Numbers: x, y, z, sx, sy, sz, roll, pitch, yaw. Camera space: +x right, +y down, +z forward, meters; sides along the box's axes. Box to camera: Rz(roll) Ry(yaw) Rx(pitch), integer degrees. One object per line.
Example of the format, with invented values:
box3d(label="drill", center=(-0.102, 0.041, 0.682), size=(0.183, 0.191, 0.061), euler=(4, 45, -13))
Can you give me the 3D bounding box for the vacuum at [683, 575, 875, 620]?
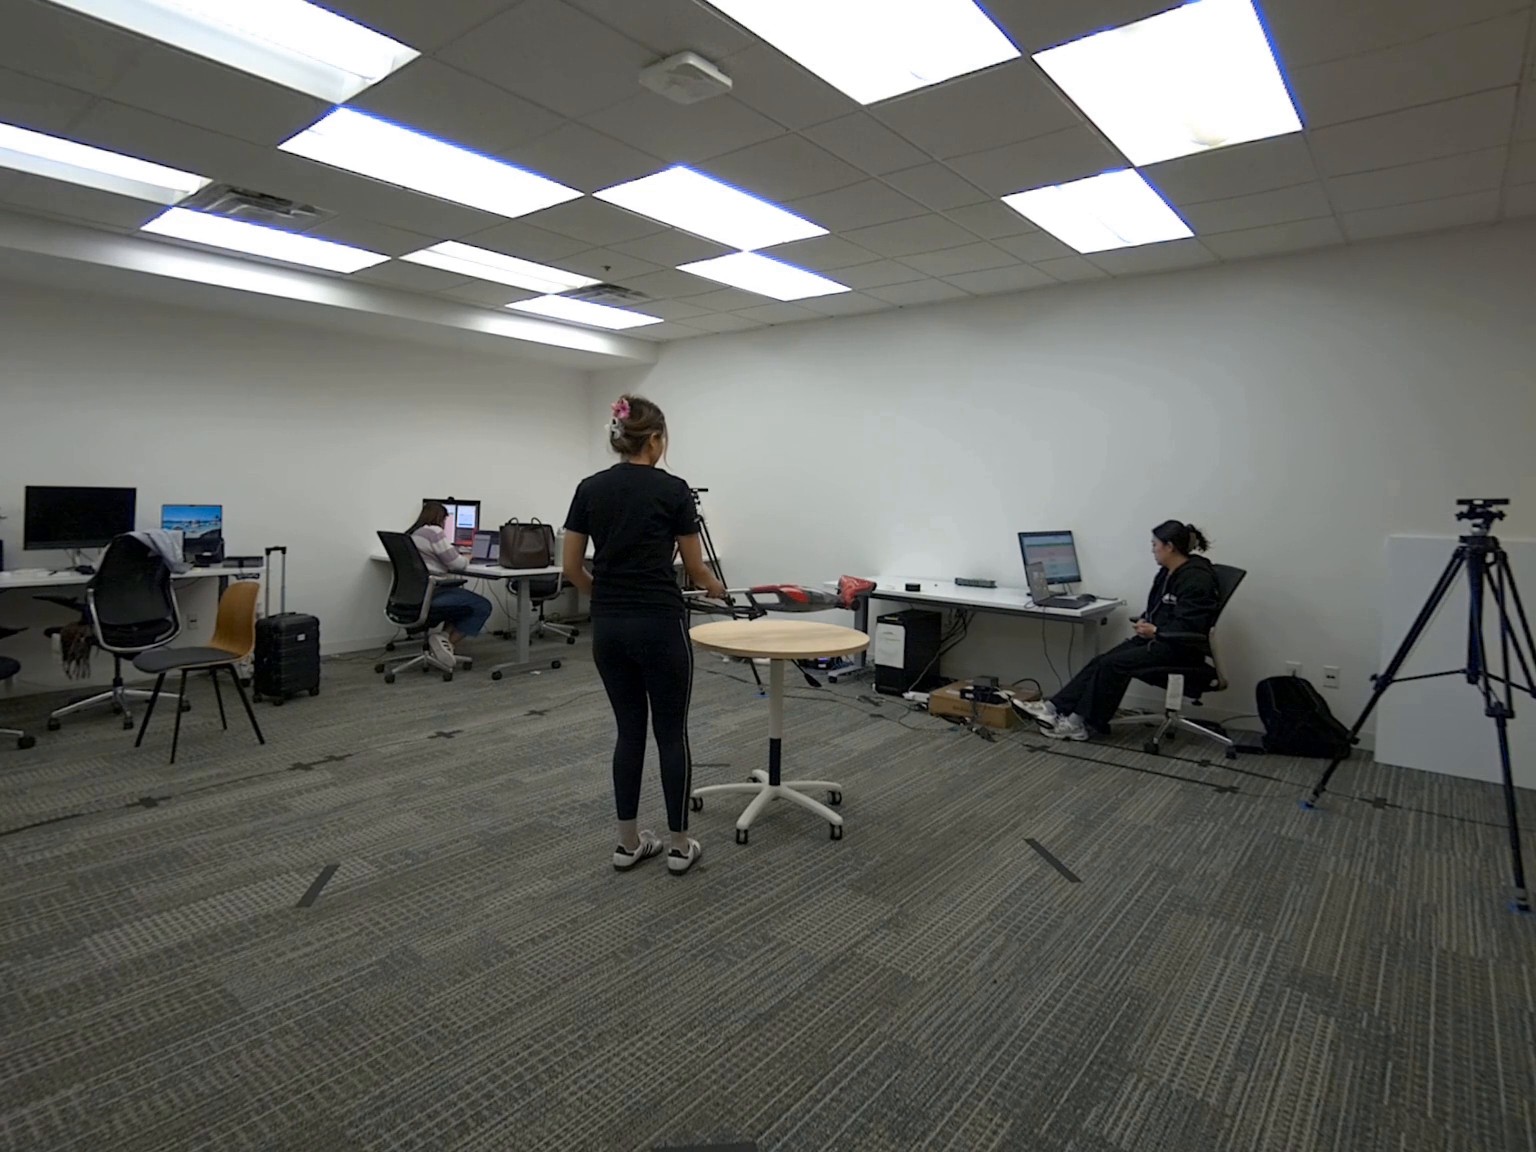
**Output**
box3d(label="vacuum", center=(-0.077, 0.109, 3.500), size=(1.025, 0.143, 0.260), euler=(-4, 7, -25))
